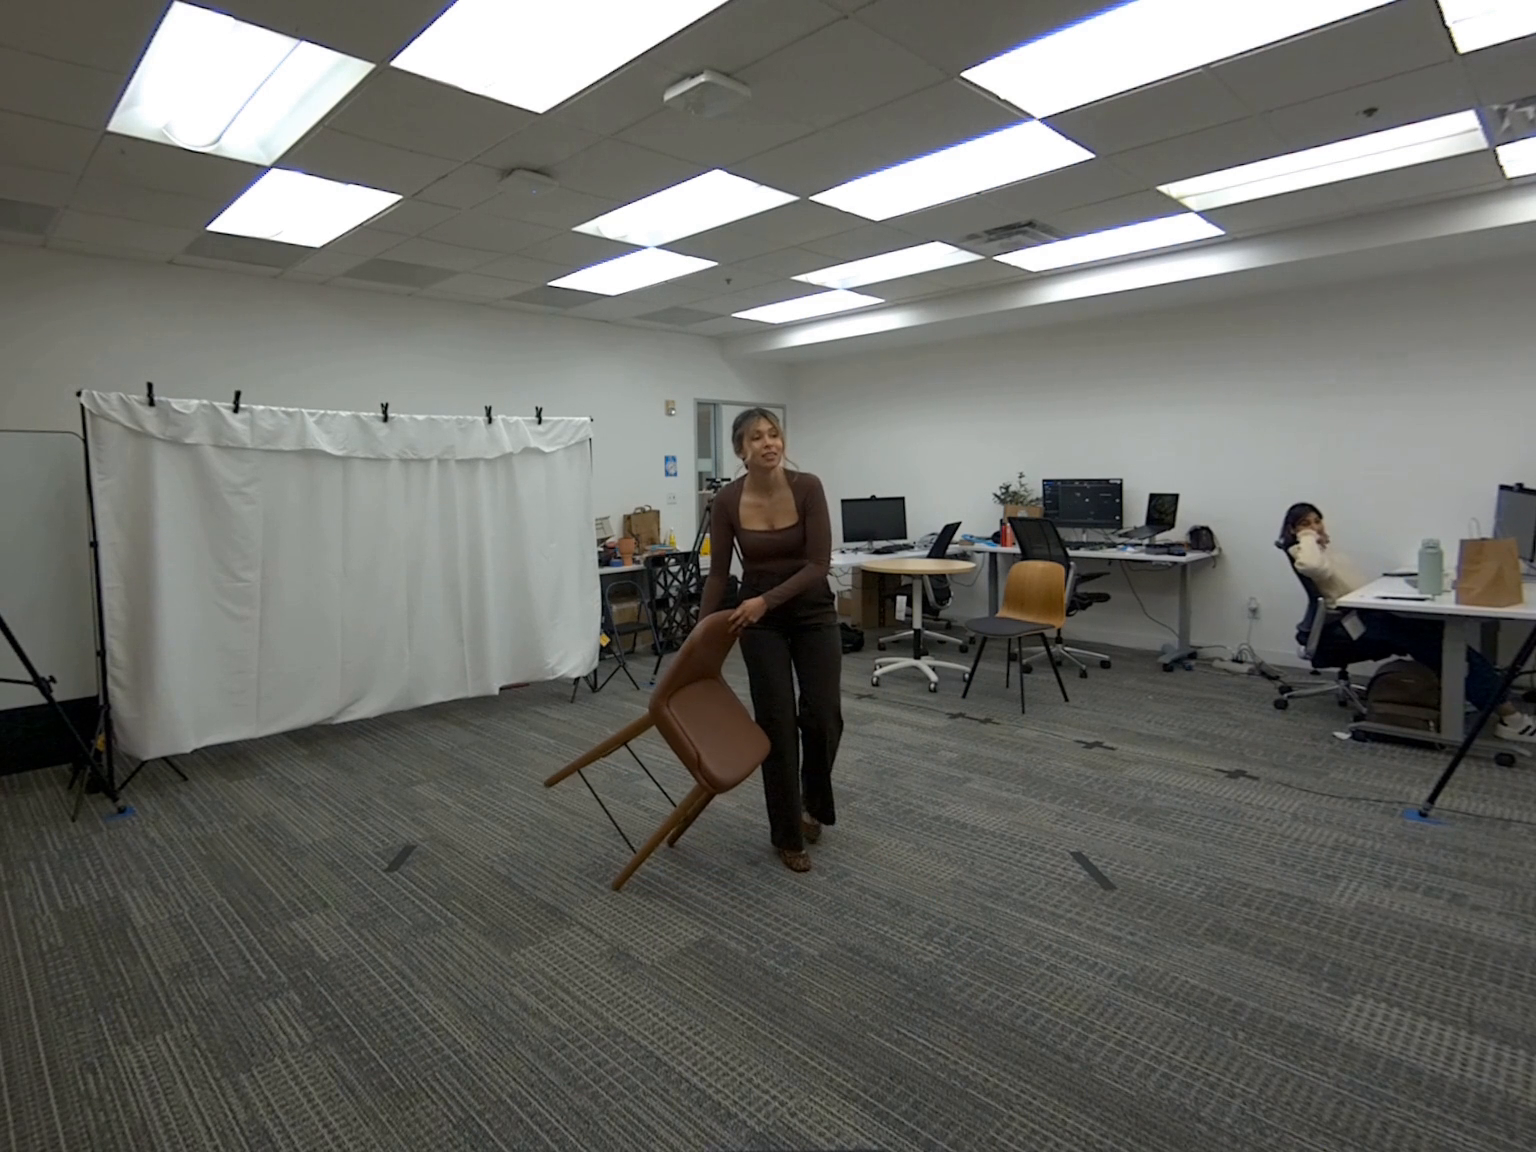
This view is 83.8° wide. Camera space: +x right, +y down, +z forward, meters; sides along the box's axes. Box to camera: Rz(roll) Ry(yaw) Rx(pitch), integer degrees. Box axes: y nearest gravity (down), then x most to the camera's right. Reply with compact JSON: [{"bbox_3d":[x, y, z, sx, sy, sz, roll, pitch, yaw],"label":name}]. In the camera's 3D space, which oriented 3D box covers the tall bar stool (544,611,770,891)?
[{"bbox_3d":[-0.300,0.596,2.983,0.889,0.477,0.448,-47,-14,20],"label":"tall bar stool"}]
